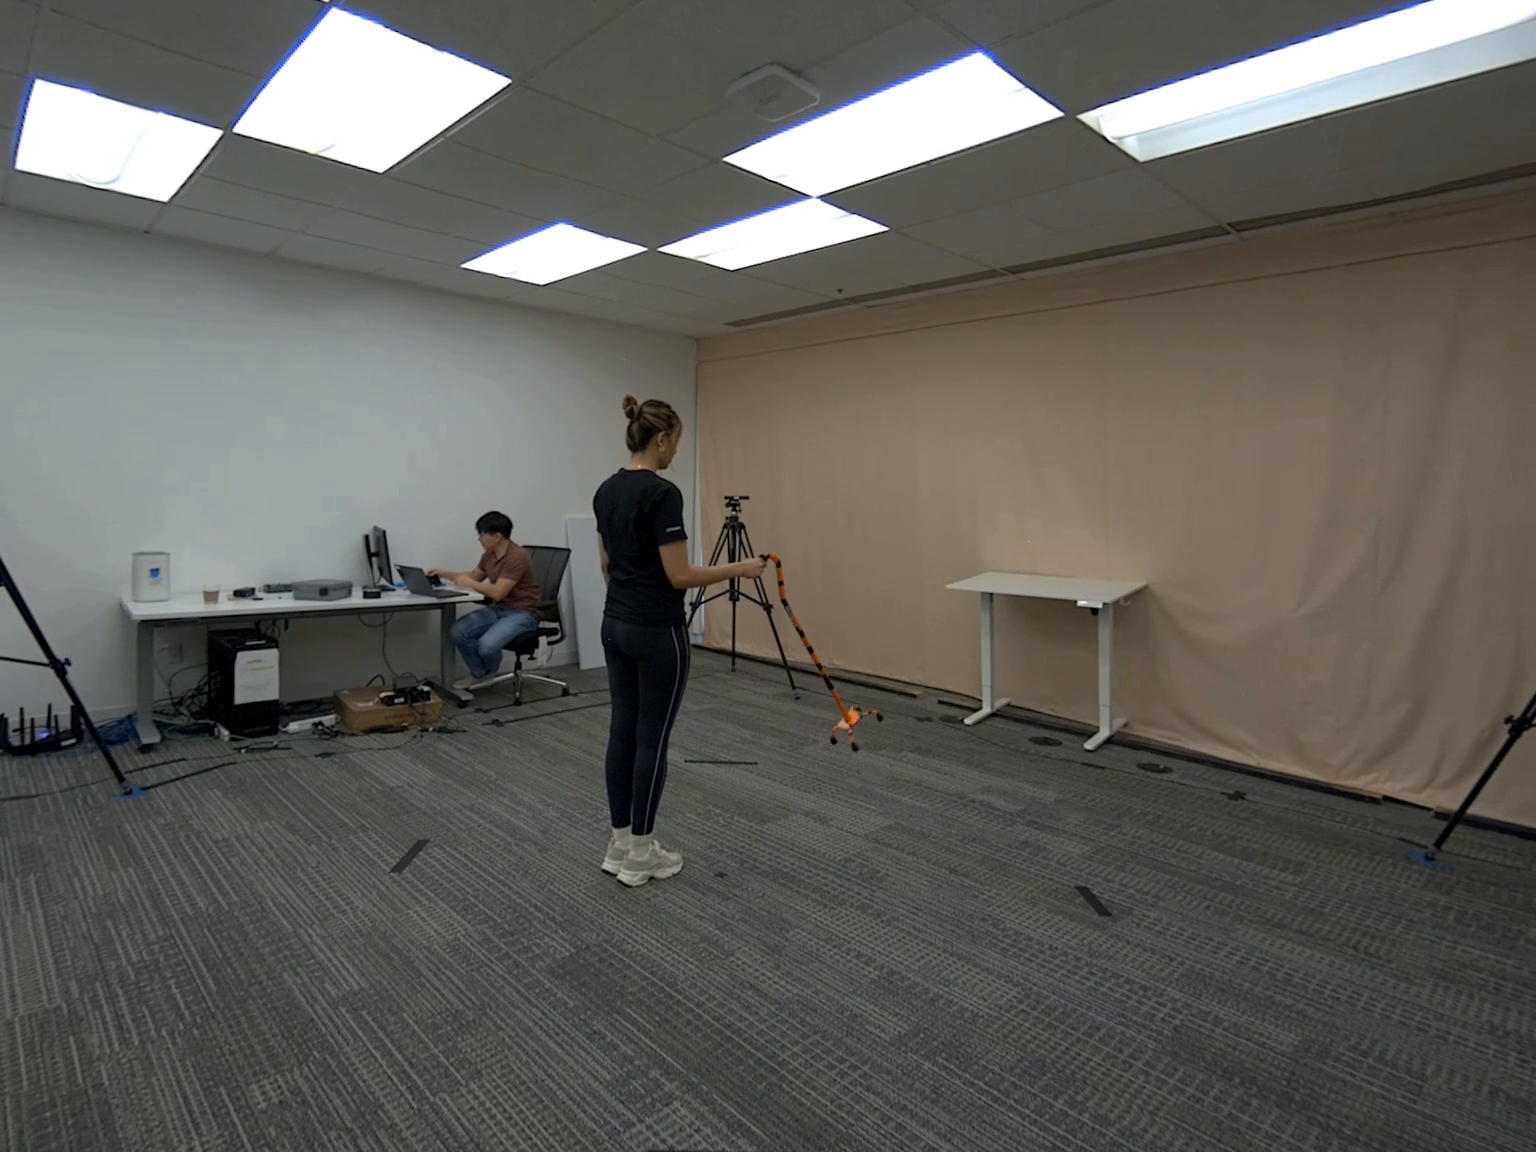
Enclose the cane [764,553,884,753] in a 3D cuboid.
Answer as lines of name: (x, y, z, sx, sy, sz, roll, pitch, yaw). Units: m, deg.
cane: (0.169, 0.298, 3.295, 0.155, 0.888, 0.206, 2, 37, 47)
